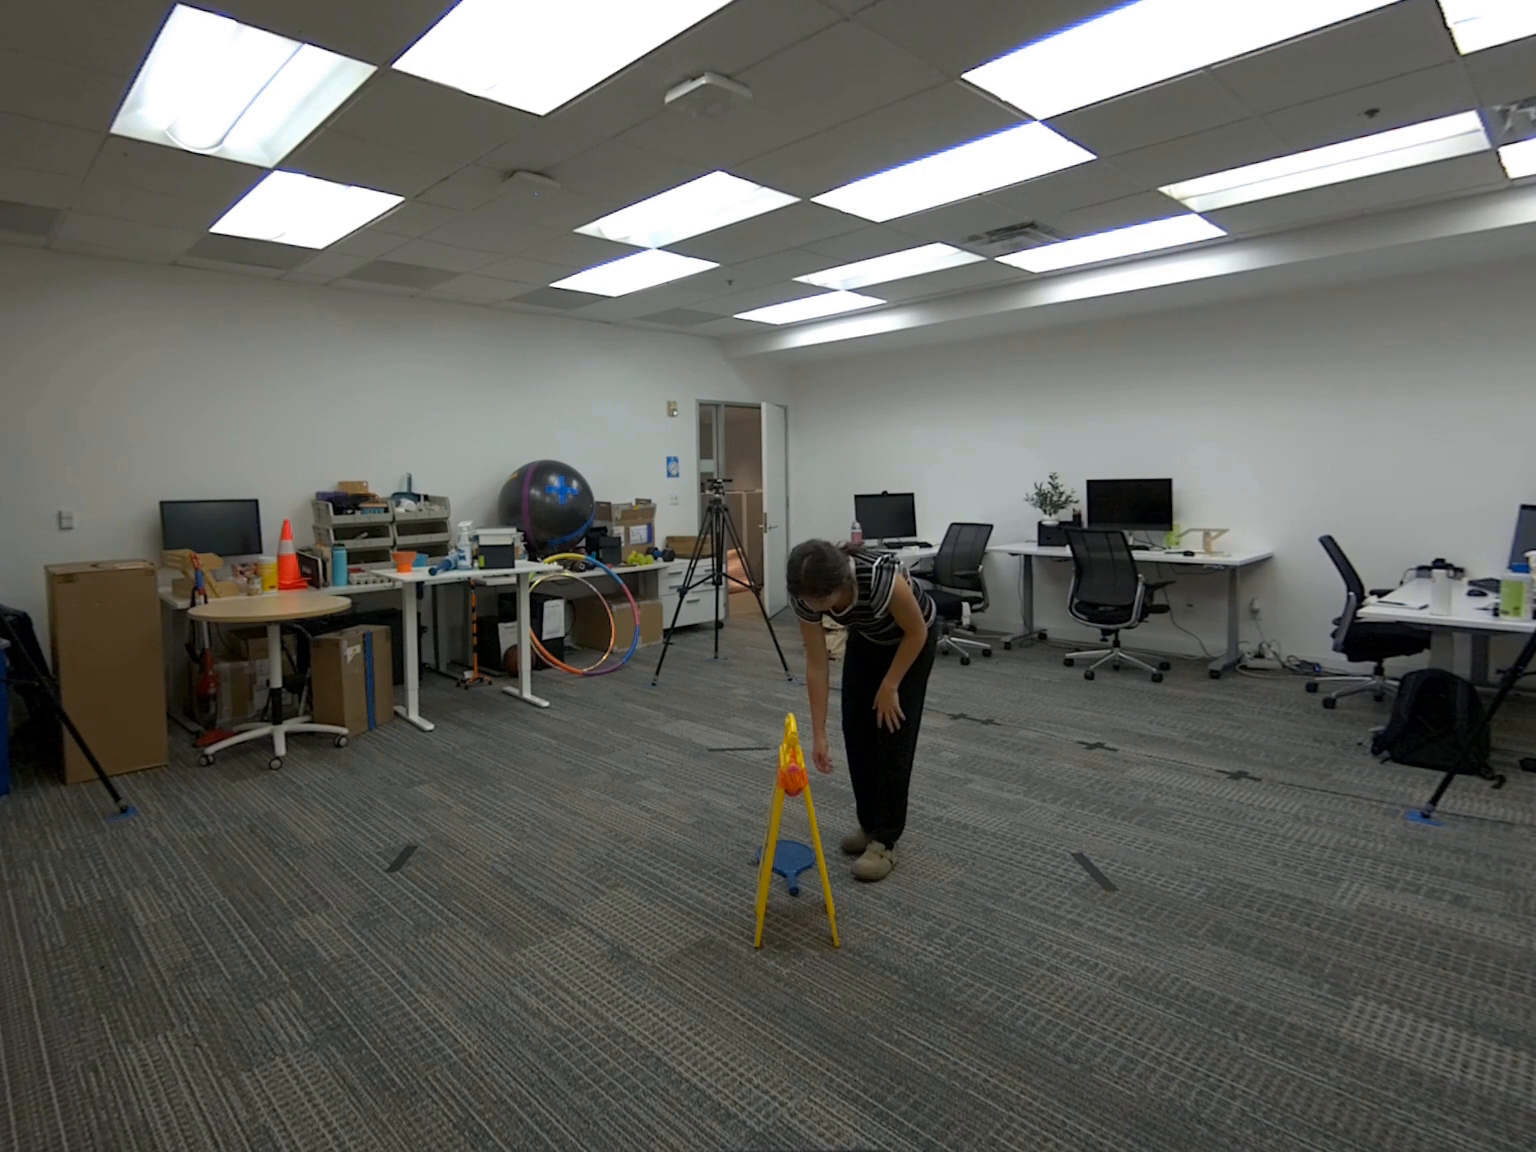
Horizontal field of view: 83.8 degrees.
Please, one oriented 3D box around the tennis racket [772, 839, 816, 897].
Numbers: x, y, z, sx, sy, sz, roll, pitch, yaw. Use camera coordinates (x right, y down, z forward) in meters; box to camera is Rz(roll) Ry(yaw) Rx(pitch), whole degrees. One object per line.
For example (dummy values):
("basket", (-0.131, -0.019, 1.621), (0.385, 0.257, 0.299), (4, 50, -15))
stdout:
("tennis racket", (0.072, 1.032, 3.069), (0.213, 0.031, 0.434), (-2, 5, -2))
